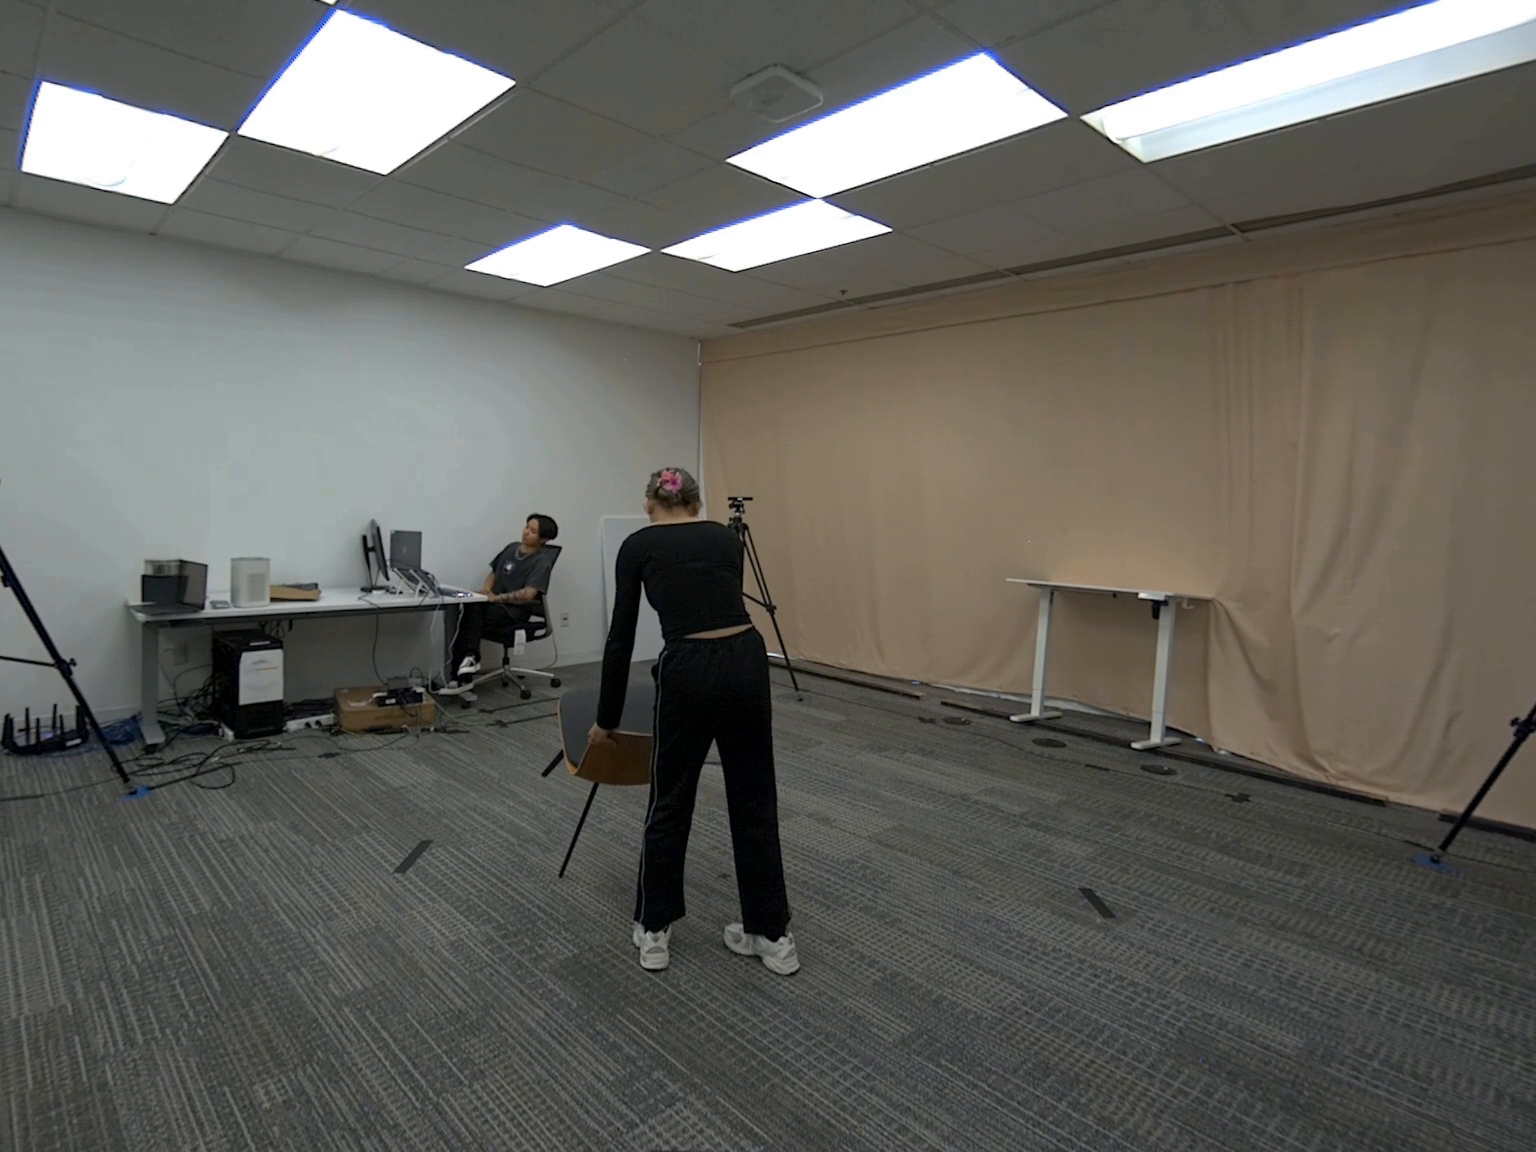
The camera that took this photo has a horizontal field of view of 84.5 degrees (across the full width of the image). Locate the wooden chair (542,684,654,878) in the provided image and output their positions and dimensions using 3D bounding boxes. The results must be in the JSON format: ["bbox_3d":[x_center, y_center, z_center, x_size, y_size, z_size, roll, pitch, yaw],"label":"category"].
[{"bbox_3d":[-0.526,0.617,3.058,0.470,0.866,0.538,0,45,-24],"label":"wooden chair"}]
